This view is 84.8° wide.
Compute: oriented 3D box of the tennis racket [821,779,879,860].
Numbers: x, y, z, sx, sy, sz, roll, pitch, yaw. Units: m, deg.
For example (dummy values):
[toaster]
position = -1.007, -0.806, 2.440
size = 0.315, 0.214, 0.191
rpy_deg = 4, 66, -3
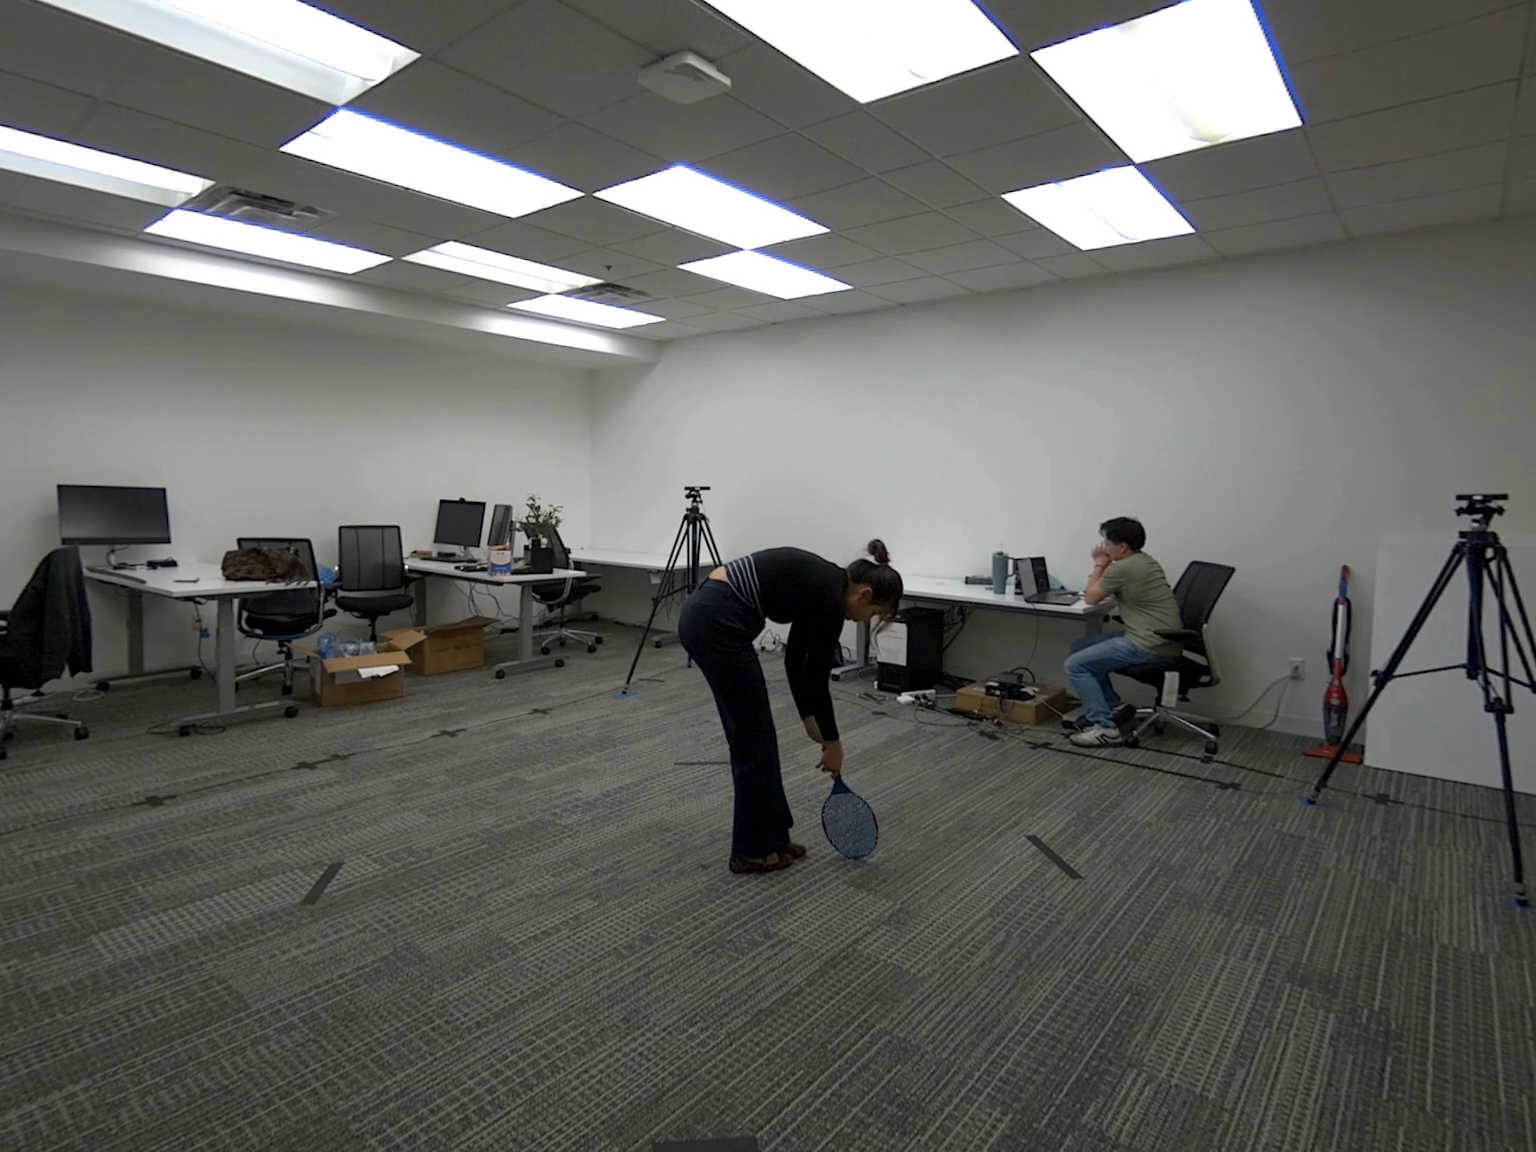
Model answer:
[tennis racket]
position = 0.272, 0.866, 3.194
size = 0.216, 0.432, 0.031
rpy_deg = -21, 1, 19
